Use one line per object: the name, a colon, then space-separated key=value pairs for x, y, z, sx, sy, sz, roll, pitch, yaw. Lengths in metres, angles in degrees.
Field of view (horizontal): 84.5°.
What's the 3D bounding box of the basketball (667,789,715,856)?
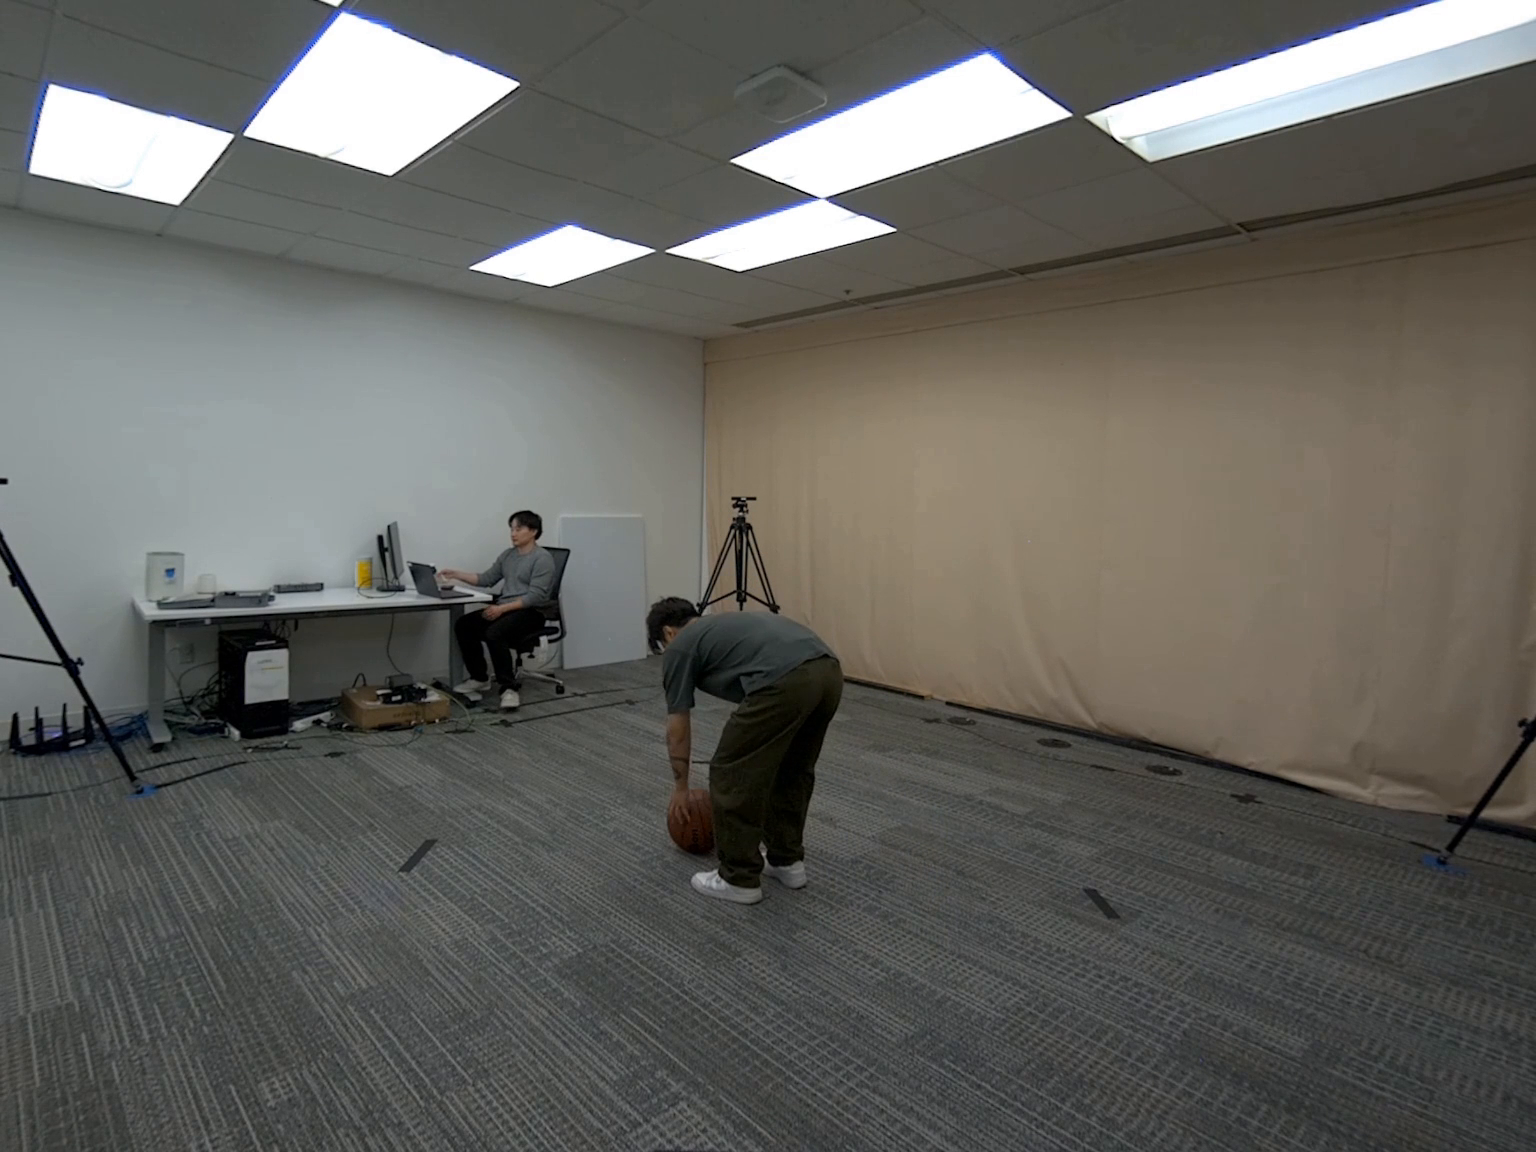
basketball: x=-0.286 y=0.958 z=3.321 sx=0.236 sy=0.235 sz=0.237 roll=1 pitch=4 yaw=-1
